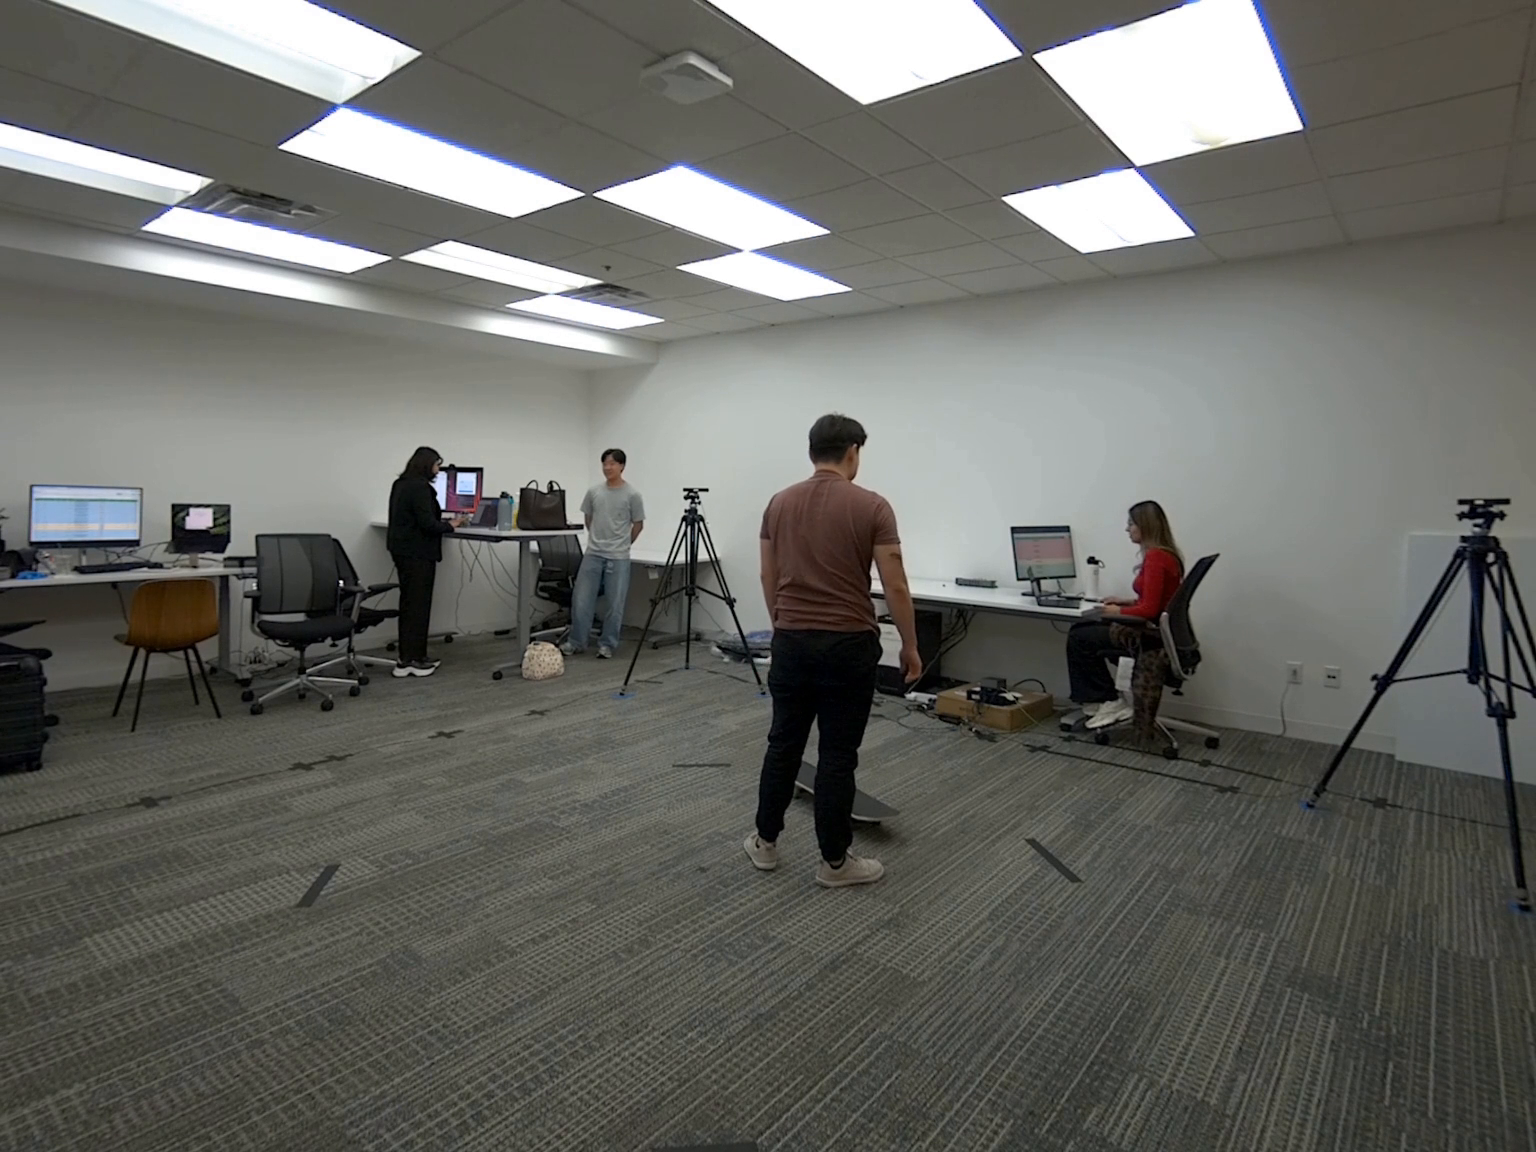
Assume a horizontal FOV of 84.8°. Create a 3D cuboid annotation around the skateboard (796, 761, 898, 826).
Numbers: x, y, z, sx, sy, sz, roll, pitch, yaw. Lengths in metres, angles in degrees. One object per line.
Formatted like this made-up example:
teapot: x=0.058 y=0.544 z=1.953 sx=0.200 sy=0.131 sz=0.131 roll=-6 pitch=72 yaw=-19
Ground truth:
skateboard: x=0.282 y=0.963 z=3.724 sx=0.188 sy=0.110 sz=0.809 roll=-3 pitch=7 yaw=-29
